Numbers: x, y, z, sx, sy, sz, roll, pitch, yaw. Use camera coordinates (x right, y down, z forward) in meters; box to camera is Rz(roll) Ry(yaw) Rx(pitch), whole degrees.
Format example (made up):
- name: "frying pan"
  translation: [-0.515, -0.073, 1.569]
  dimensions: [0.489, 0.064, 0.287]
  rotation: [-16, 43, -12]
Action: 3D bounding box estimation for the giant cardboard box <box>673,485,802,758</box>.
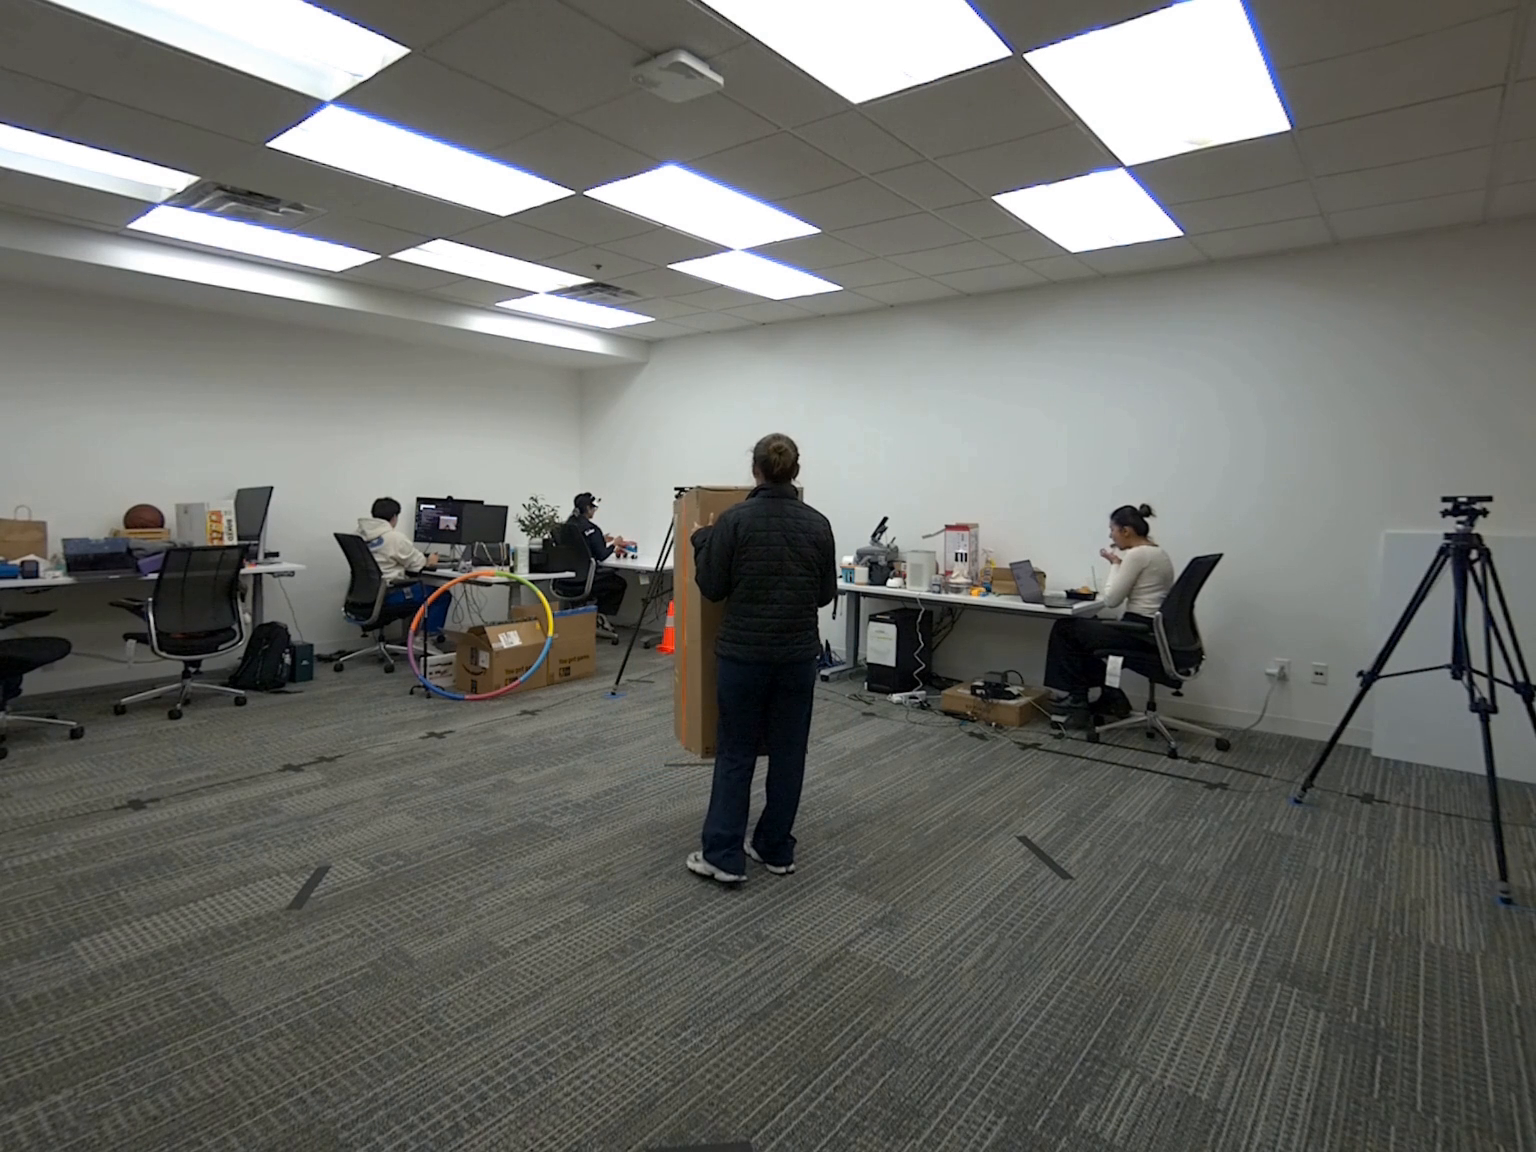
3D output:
- name: "giant cardboard box"
  translation: [-0.130, 0.171, 3.516]
  dimensions: [0.420, 1.029, 0.583]
  rotation: [0, -3, -14]
